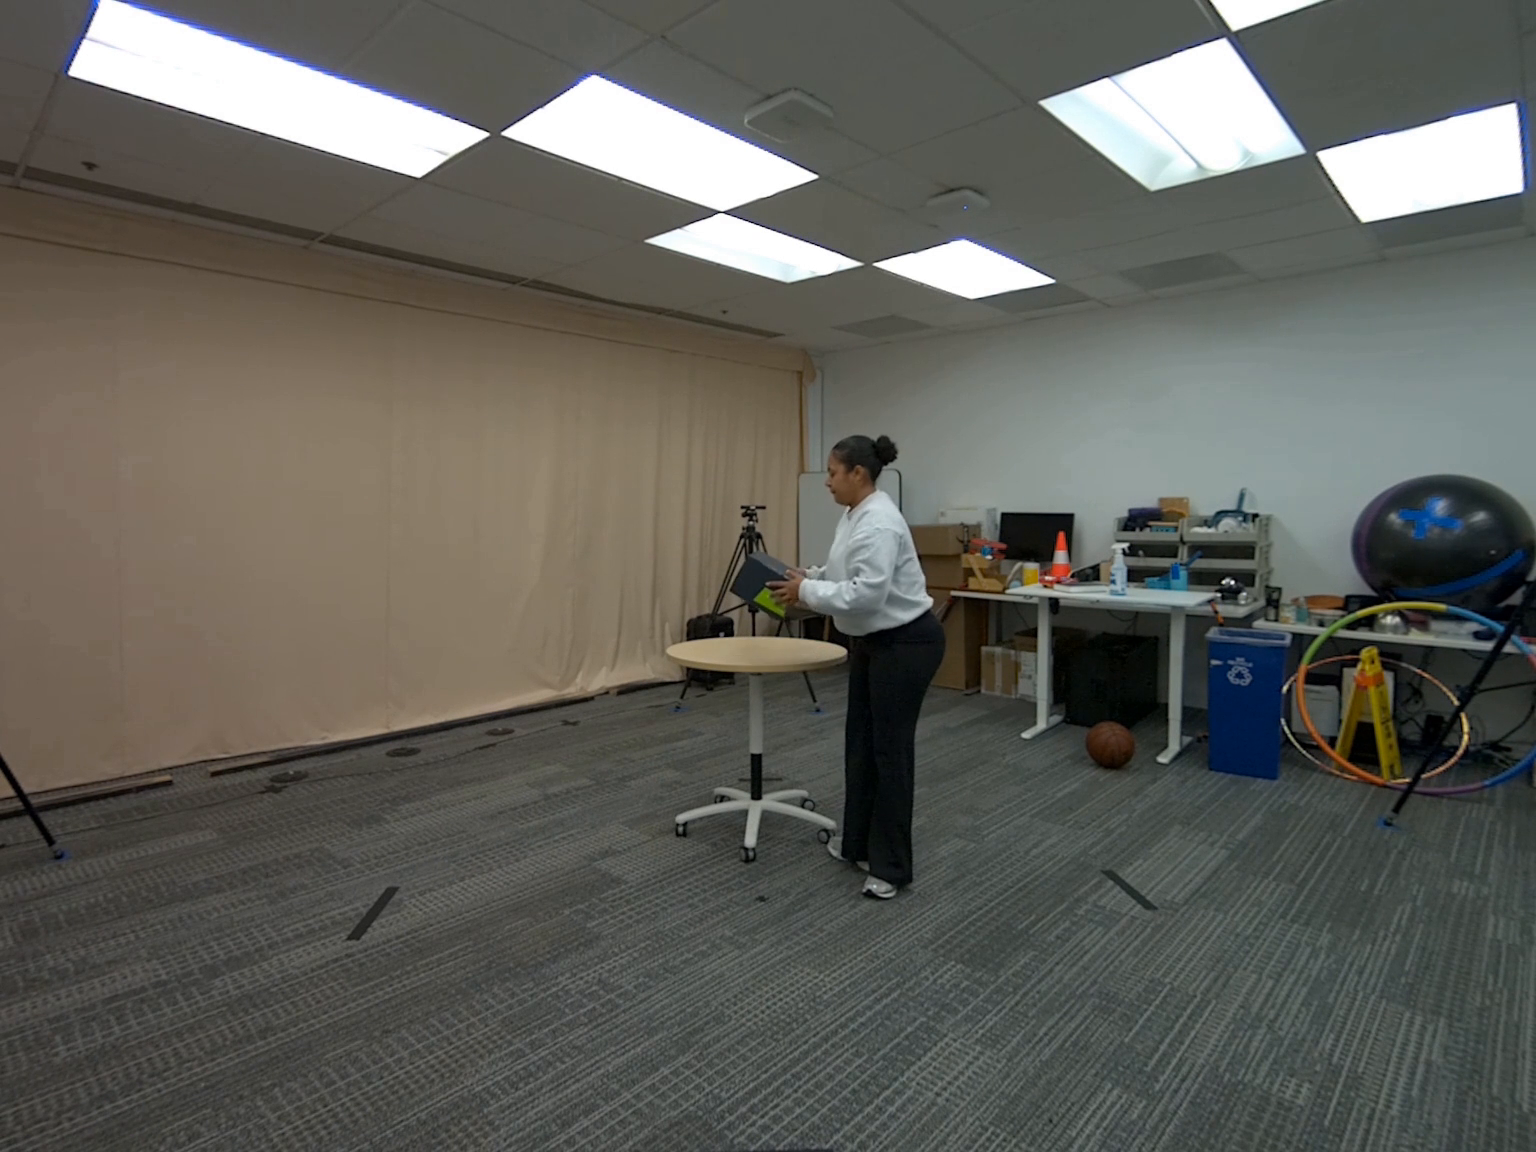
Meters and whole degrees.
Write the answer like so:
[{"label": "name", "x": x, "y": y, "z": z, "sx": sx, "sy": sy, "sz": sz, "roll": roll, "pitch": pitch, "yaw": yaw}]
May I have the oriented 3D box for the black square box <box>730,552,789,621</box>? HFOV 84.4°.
[{"label": "black square box", "x": 0.007, "y": 0.047, "z": 3.199, "sx": 0.229, "sy": 0.156, "sz": 0.216, "roll": 29, "pitch": 7, "yaw": 4}]
